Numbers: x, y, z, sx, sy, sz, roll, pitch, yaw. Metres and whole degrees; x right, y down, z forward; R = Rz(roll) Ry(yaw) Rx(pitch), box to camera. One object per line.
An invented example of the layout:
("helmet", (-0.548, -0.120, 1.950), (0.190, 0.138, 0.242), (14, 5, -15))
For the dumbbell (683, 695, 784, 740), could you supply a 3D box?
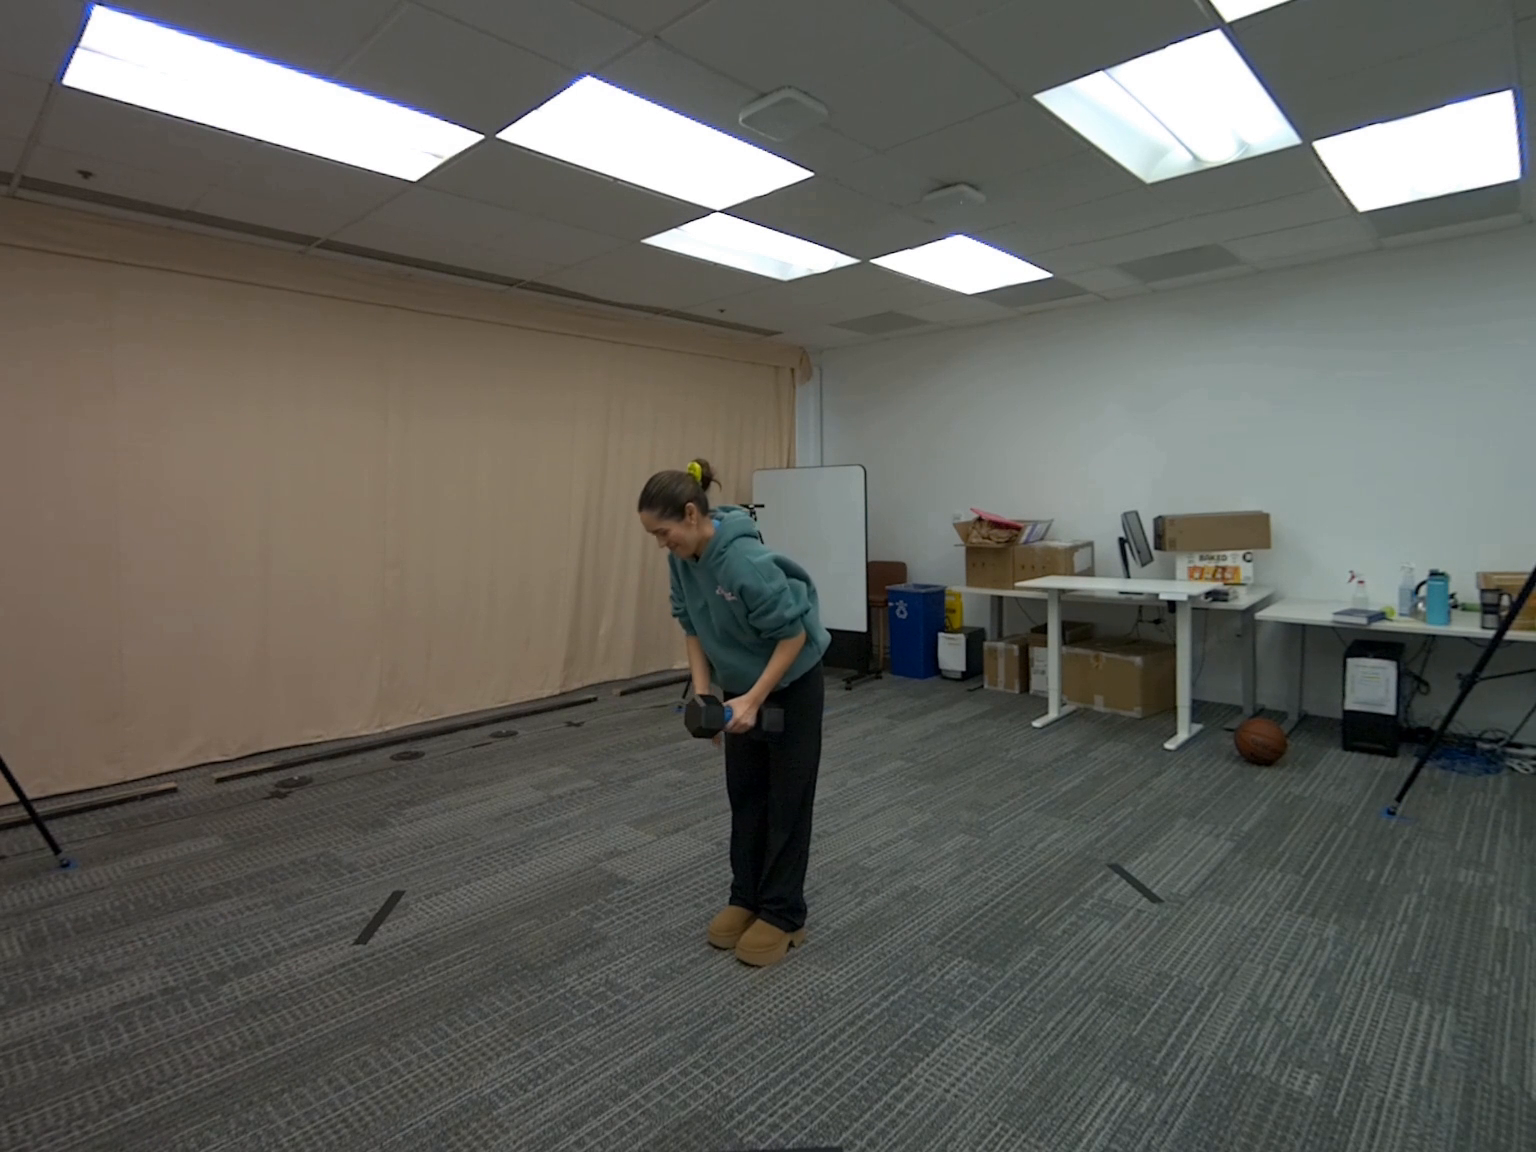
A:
("dumbbell", (-0.097, 0.406, 2.437), (0.284, 0.108, 0.127), (10, 16, -34))
